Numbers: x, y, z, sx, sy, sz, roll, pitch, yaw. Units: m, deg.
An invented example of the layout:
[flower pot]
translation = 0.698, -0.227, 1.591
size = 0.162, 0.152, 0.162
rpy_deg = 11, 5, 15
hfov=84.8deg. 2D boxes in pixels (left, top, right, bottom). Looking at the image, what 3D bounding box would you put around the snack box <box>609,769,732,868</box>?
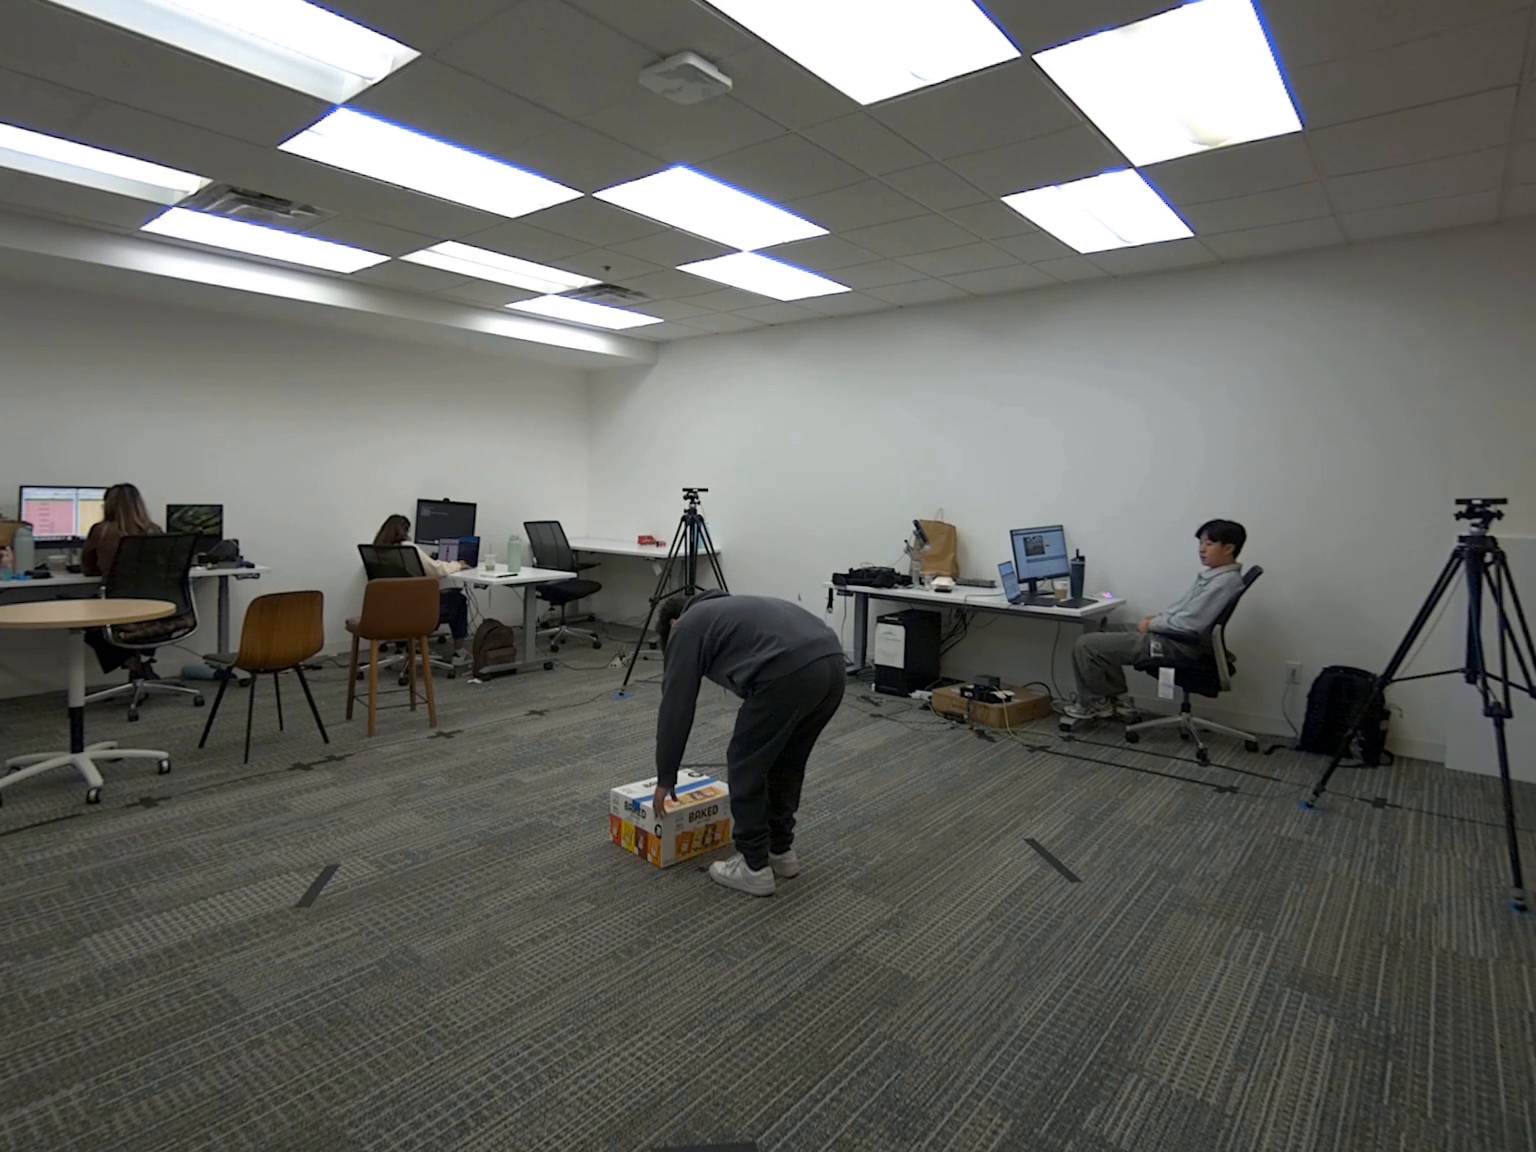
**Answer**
[snack box]
translation = -0.375, 0.942, 3.358
size = 0.393, 0.205, 0.352
rpy_deg = -4, 7, -44
